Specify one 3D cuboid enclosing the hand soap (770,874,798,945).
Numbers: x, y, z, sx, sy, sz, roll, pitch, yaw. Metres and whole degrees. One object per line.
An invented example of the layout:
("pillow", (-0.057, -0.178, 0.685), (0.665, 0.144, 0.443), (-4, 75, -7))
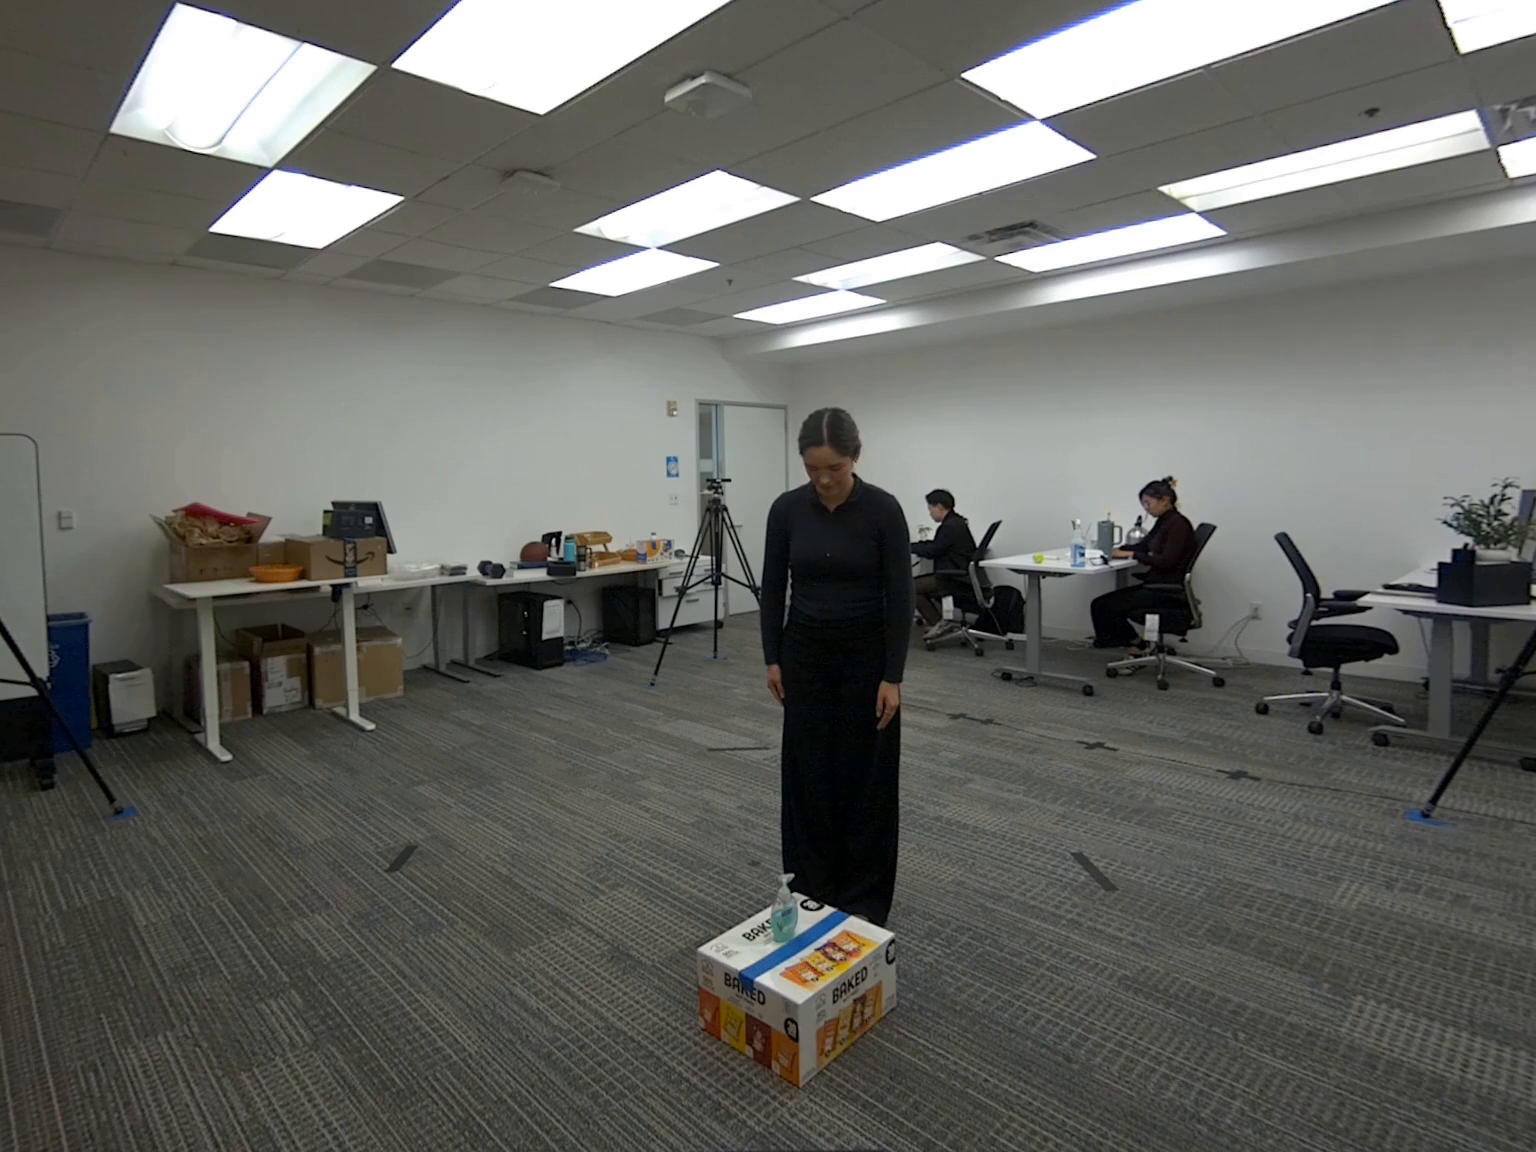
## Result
("hand soap", (0.047, 0.868, 2.236), (0.082, 0.167, 0.045), (-8, 11, -38))
